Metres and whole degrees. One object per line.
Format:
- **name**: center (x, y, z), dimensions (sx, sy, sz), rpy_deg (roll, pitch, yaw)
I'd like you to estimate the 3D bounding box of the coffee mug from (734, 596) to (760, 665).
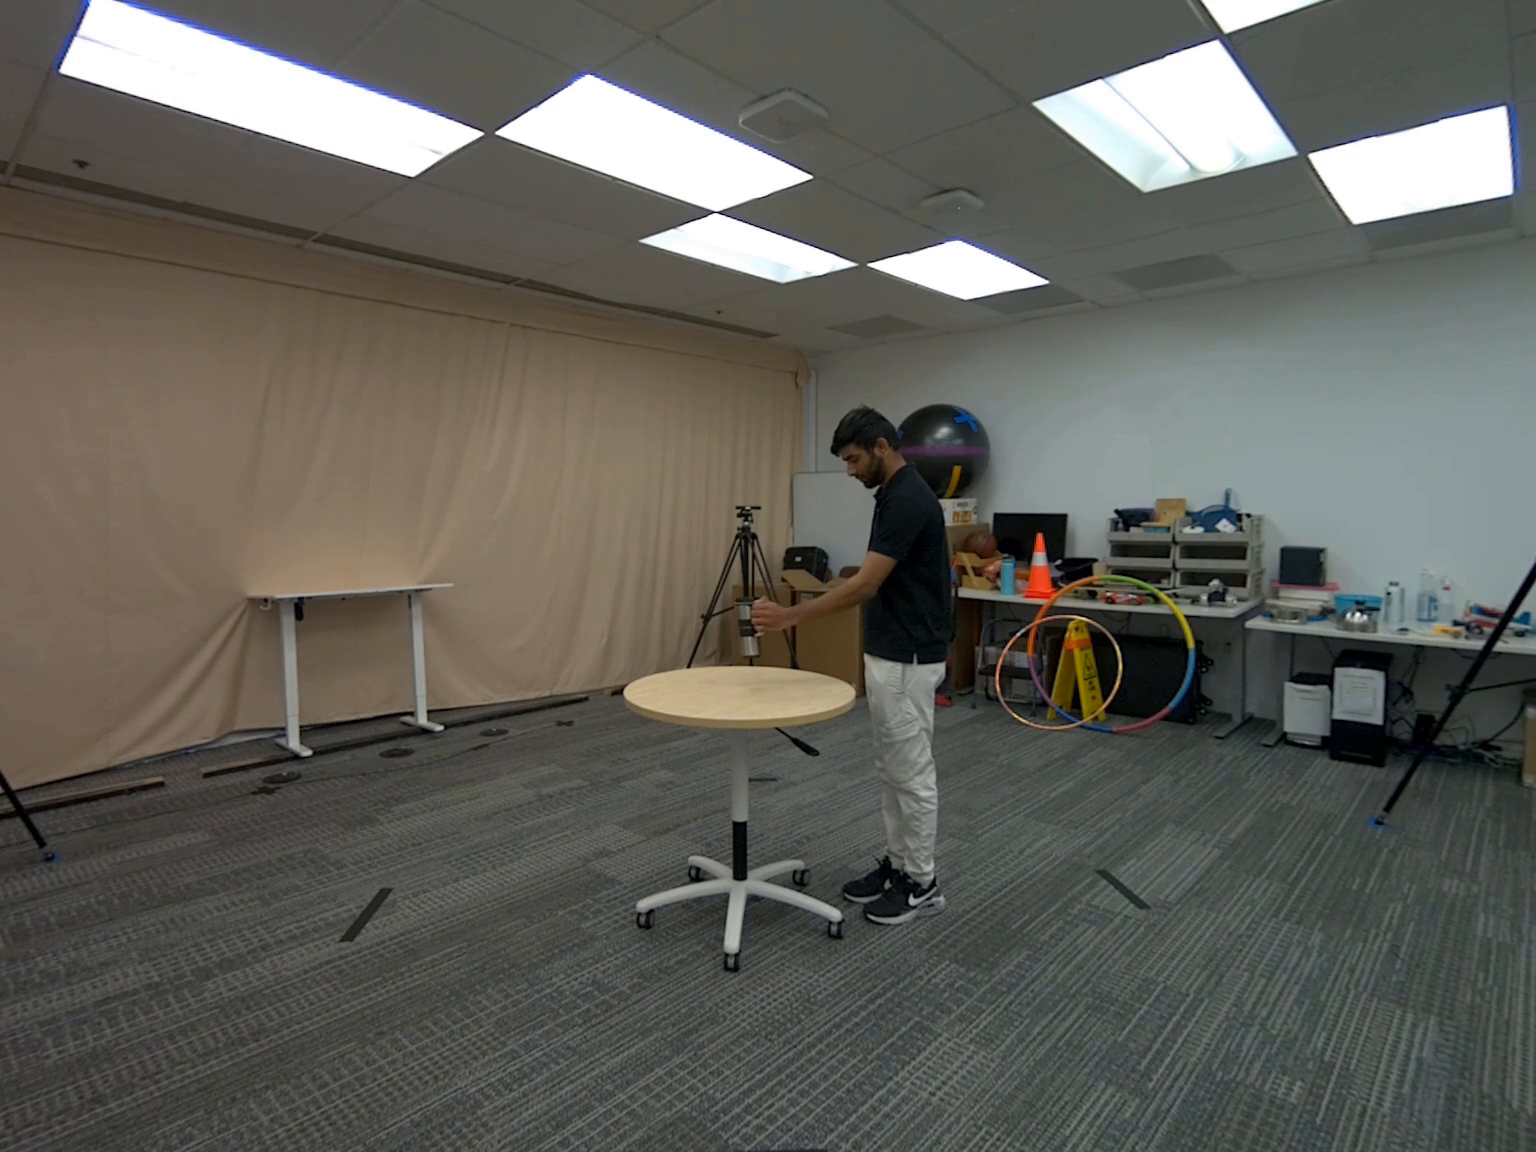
- **coffee mug**: center (-0.045, 0.179, 2.798), dimensions (0.086, 0.203, 0.125), rpy_deg (-2, 1, -26)
